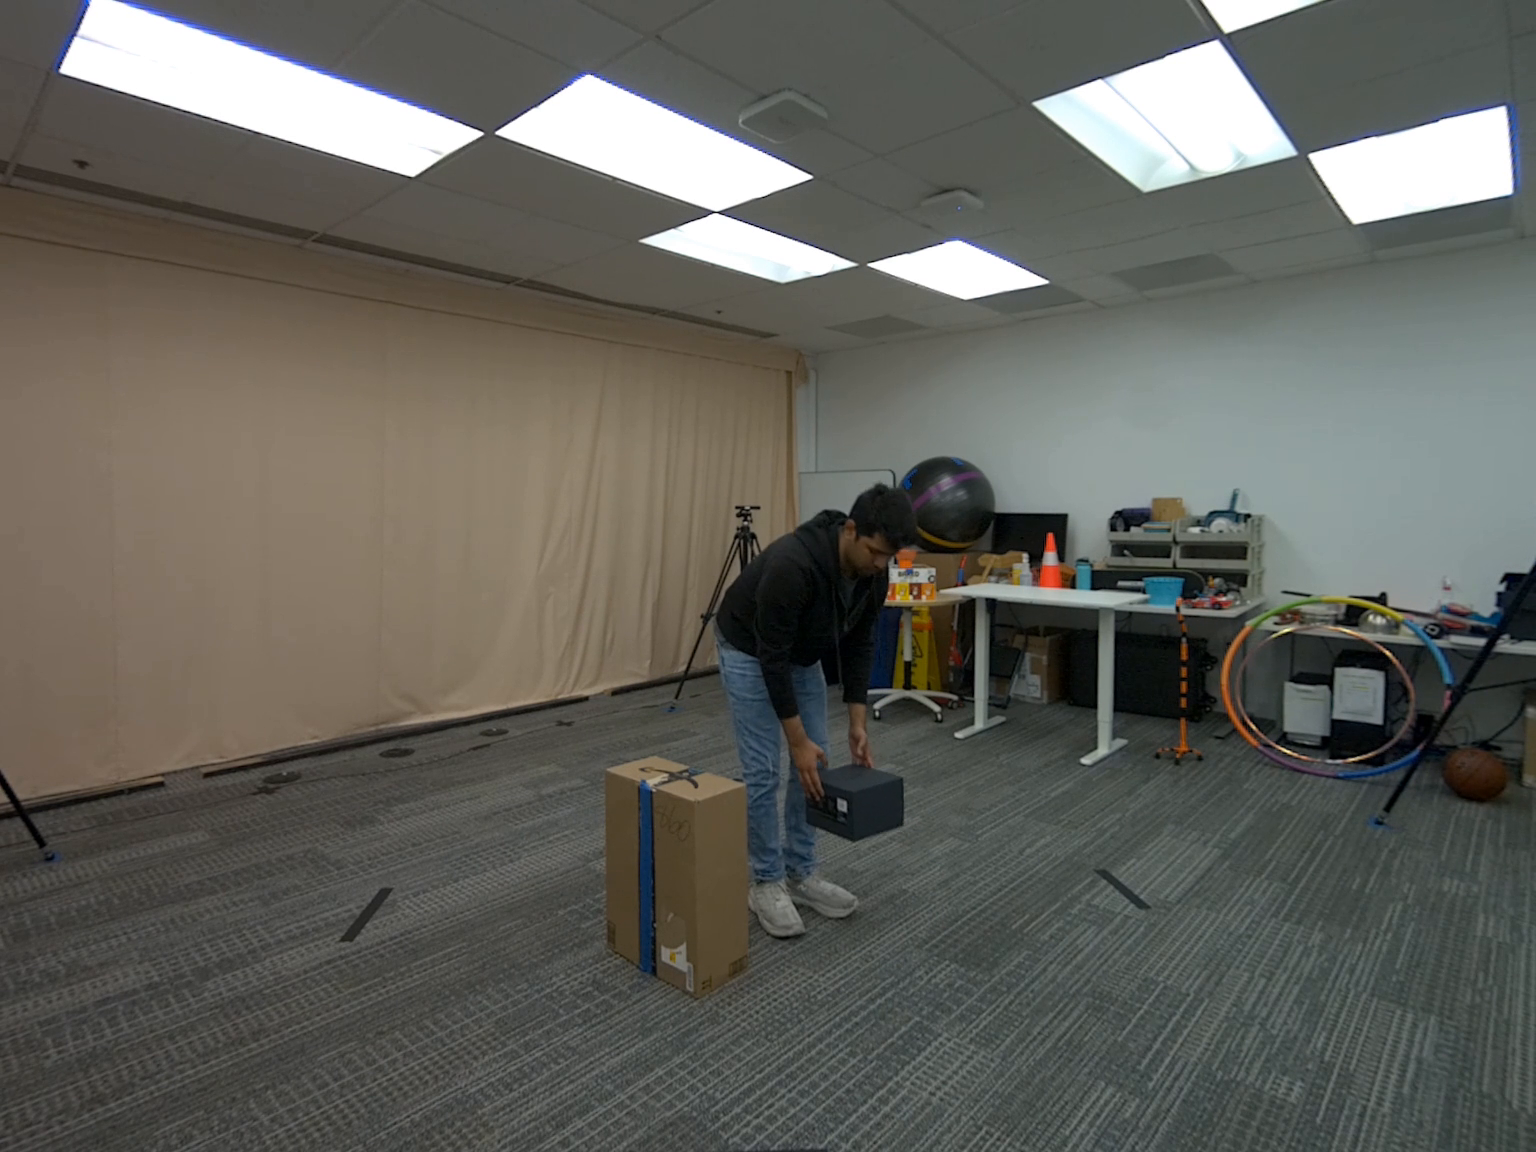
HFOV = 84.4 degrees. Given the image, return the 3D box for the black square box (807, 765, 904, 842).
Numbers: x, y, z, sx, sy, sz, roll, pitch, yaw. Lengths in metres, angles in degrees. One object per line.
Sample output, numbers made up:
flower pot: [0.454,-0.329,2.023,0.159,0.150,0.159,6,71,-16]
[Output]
black square box: [0.275,0.721,2.676,0.221,0.156,0.224,-4,3,-38]
